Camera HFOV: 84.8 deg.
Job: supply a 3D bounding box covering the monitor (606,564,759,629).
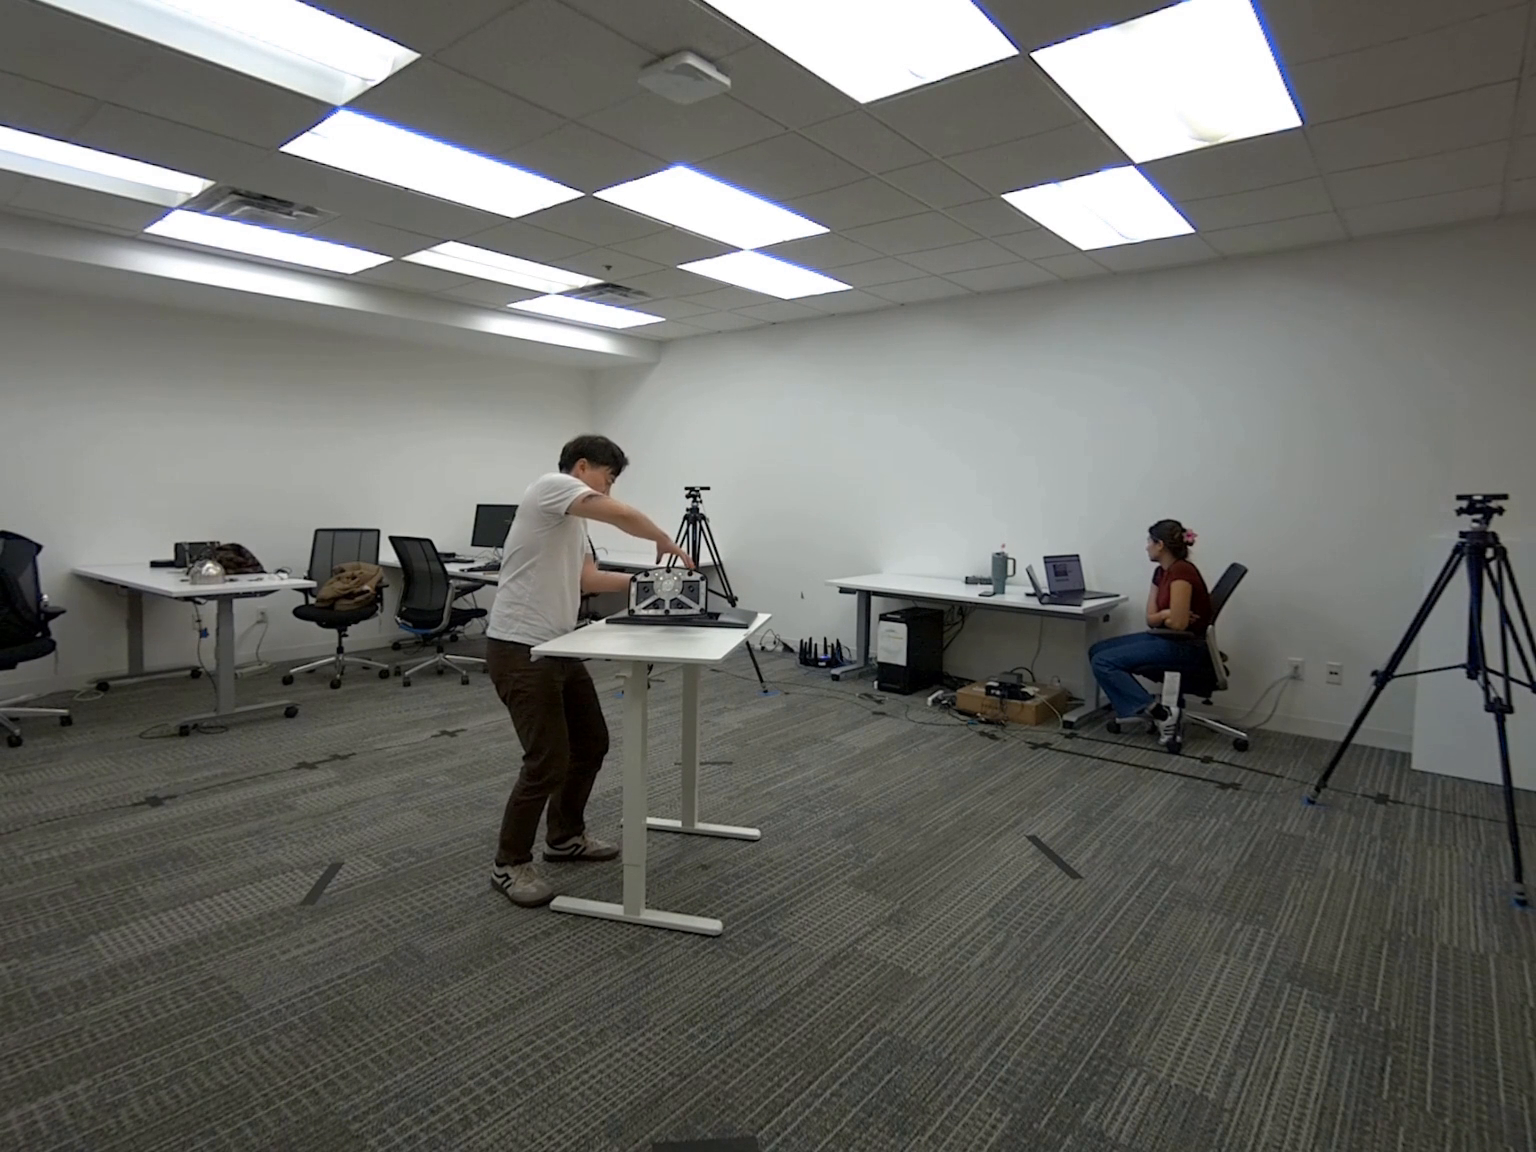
[{"bbox_3d":[-0.348,0.112,3.201,0.545,0.189,0.511,3,-13,8],"label":"monitor"}]
